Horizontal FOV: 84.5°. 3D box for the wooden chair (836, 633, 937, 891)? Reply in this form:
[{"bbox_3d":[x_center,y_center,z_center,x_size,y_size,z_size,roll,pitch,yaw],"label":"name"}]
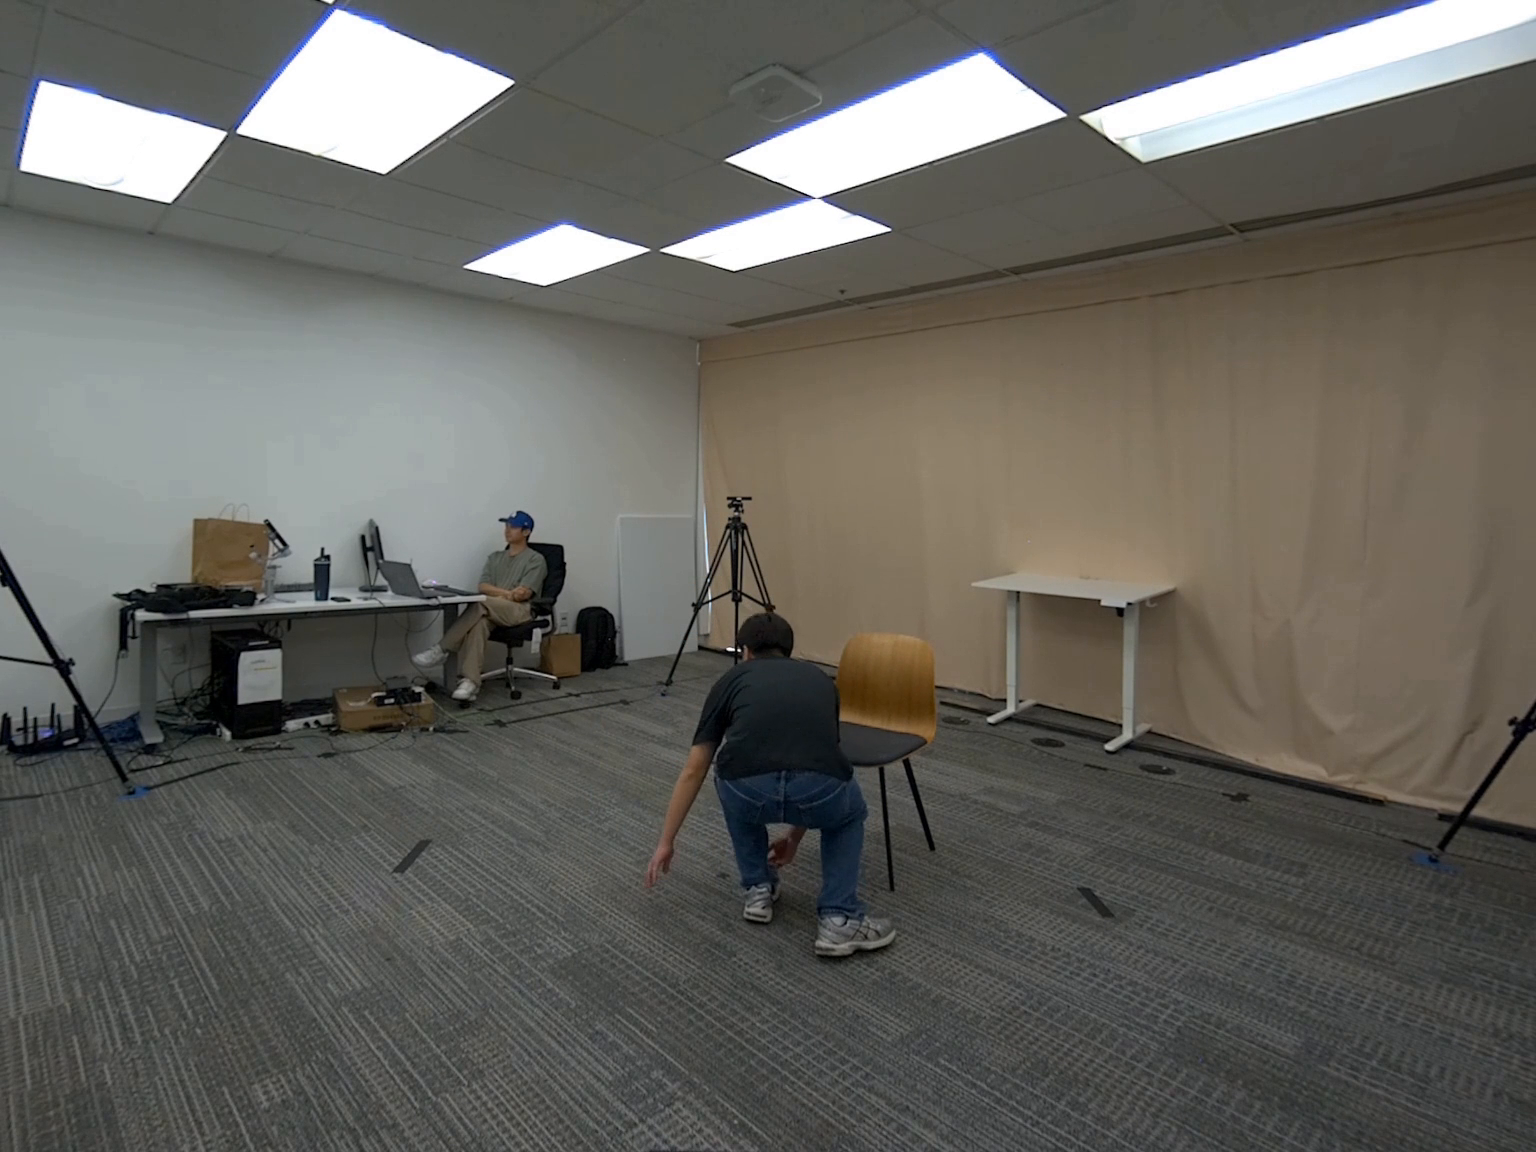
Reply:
[{"bbox_3d":[0.370,0.678,3.283,0.489,0.878,0.511,3,-1,32],"label":"wooden chair"}]
